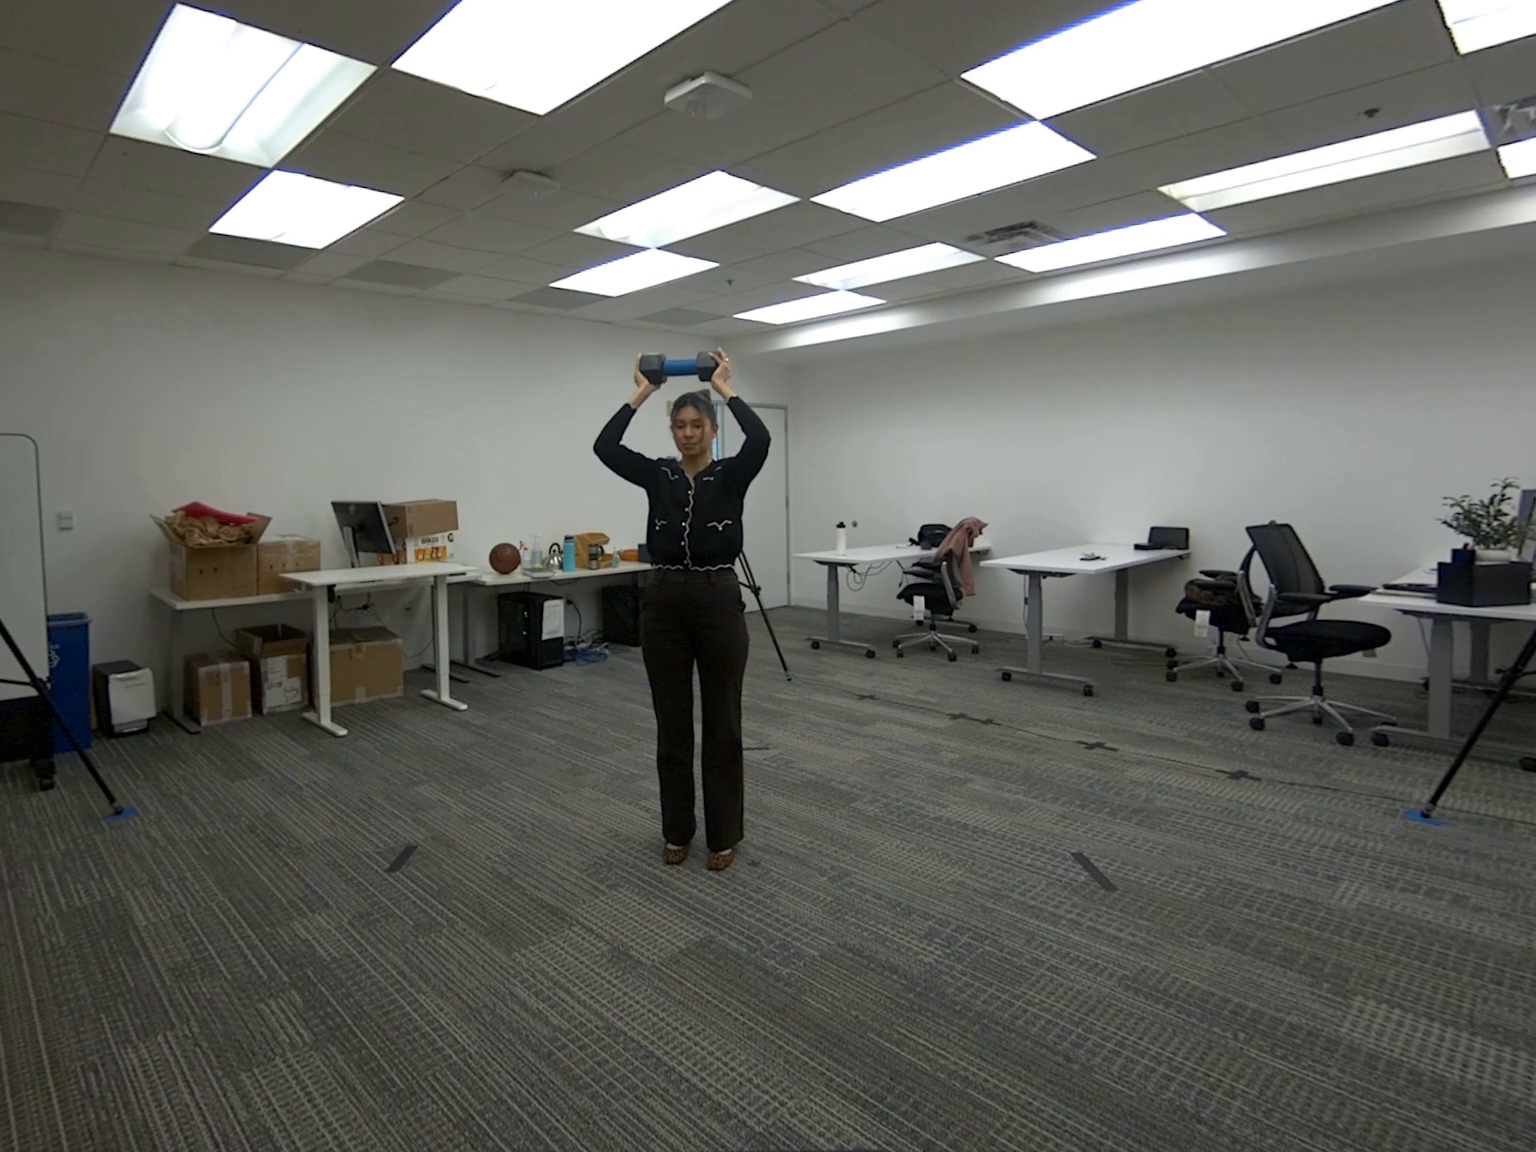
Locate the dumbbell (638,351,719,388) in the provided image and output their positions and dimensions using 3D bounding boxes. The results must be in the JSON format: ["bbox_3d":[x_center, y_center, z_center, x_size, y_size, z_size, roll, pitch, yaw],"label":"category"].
[{"bbox_3d":[-0.326,-0.745,3.056,0.297,0.107,0.123,0,14,10],"label":"dumbbell"}]
